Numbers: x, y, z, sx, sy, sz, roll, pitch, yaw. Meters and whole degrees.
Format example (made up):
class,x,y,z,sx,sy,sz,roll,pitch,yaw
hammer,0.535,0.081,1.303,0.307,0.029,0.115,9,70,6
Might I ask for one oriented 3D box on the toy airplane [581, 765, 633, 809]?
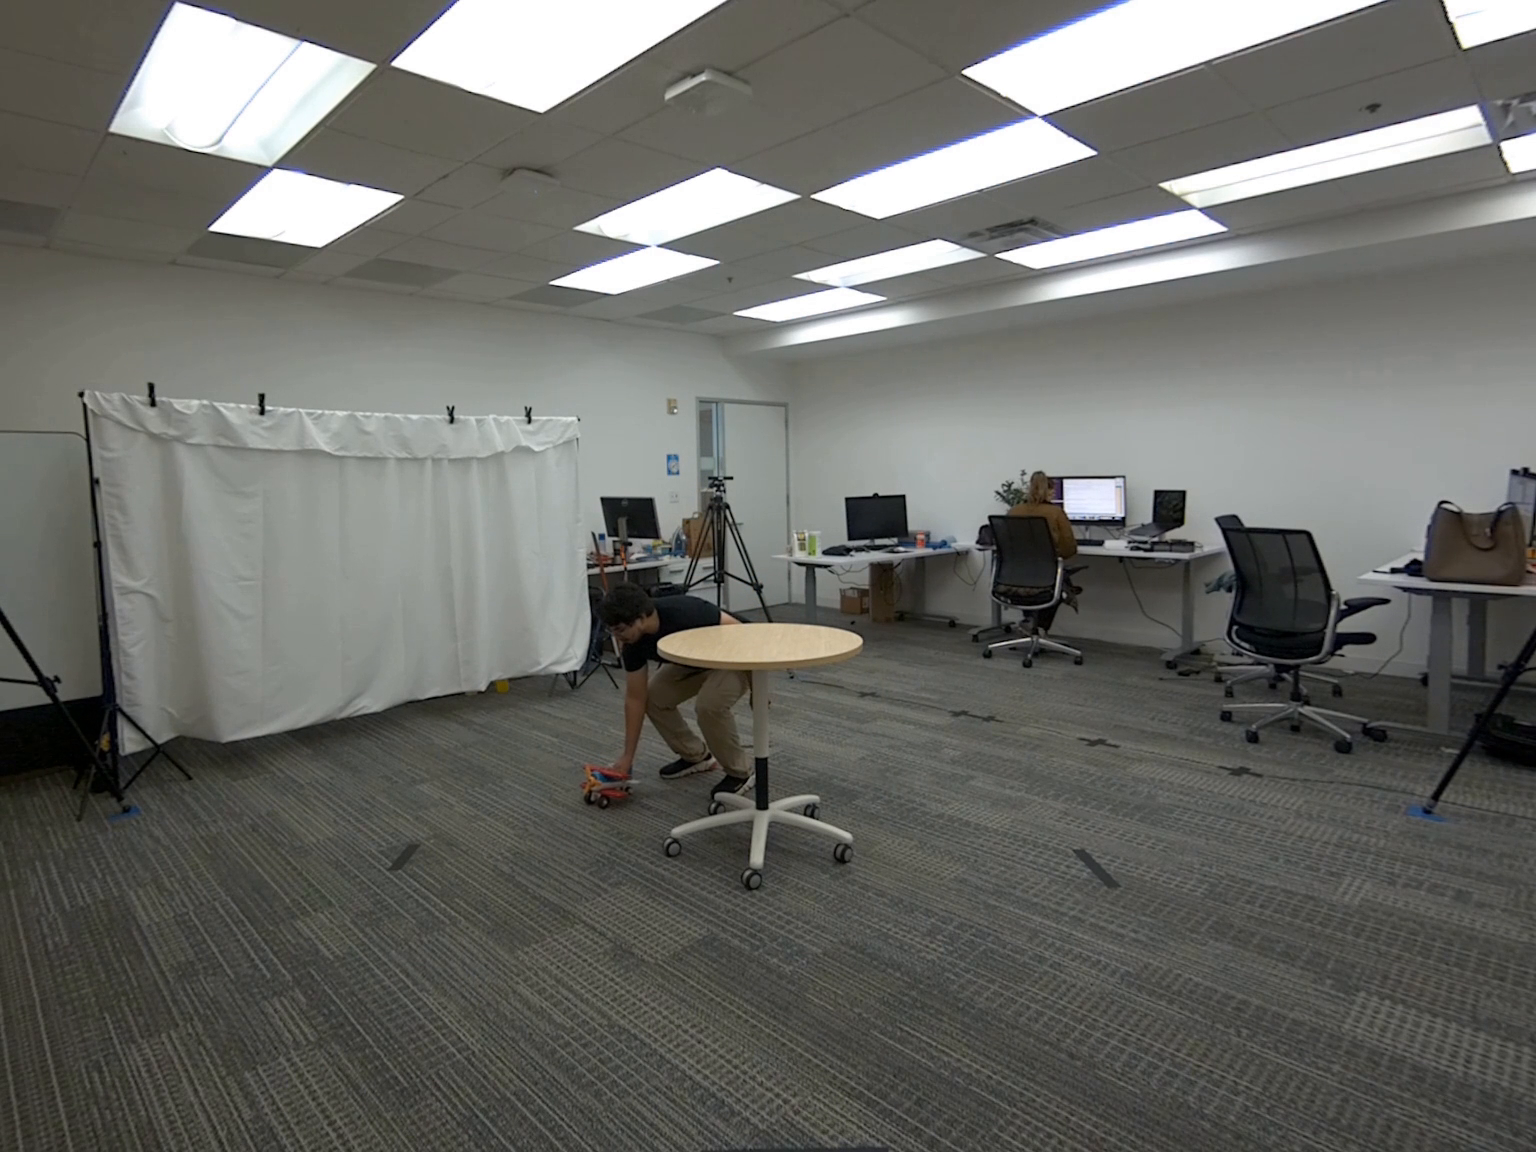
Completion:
class,x,y,z,sx,sy,sz,roll,pitch,yaw
toy airplane,-0.704,0.908,3.744,0.253,0.155,0.259,0,7,7
